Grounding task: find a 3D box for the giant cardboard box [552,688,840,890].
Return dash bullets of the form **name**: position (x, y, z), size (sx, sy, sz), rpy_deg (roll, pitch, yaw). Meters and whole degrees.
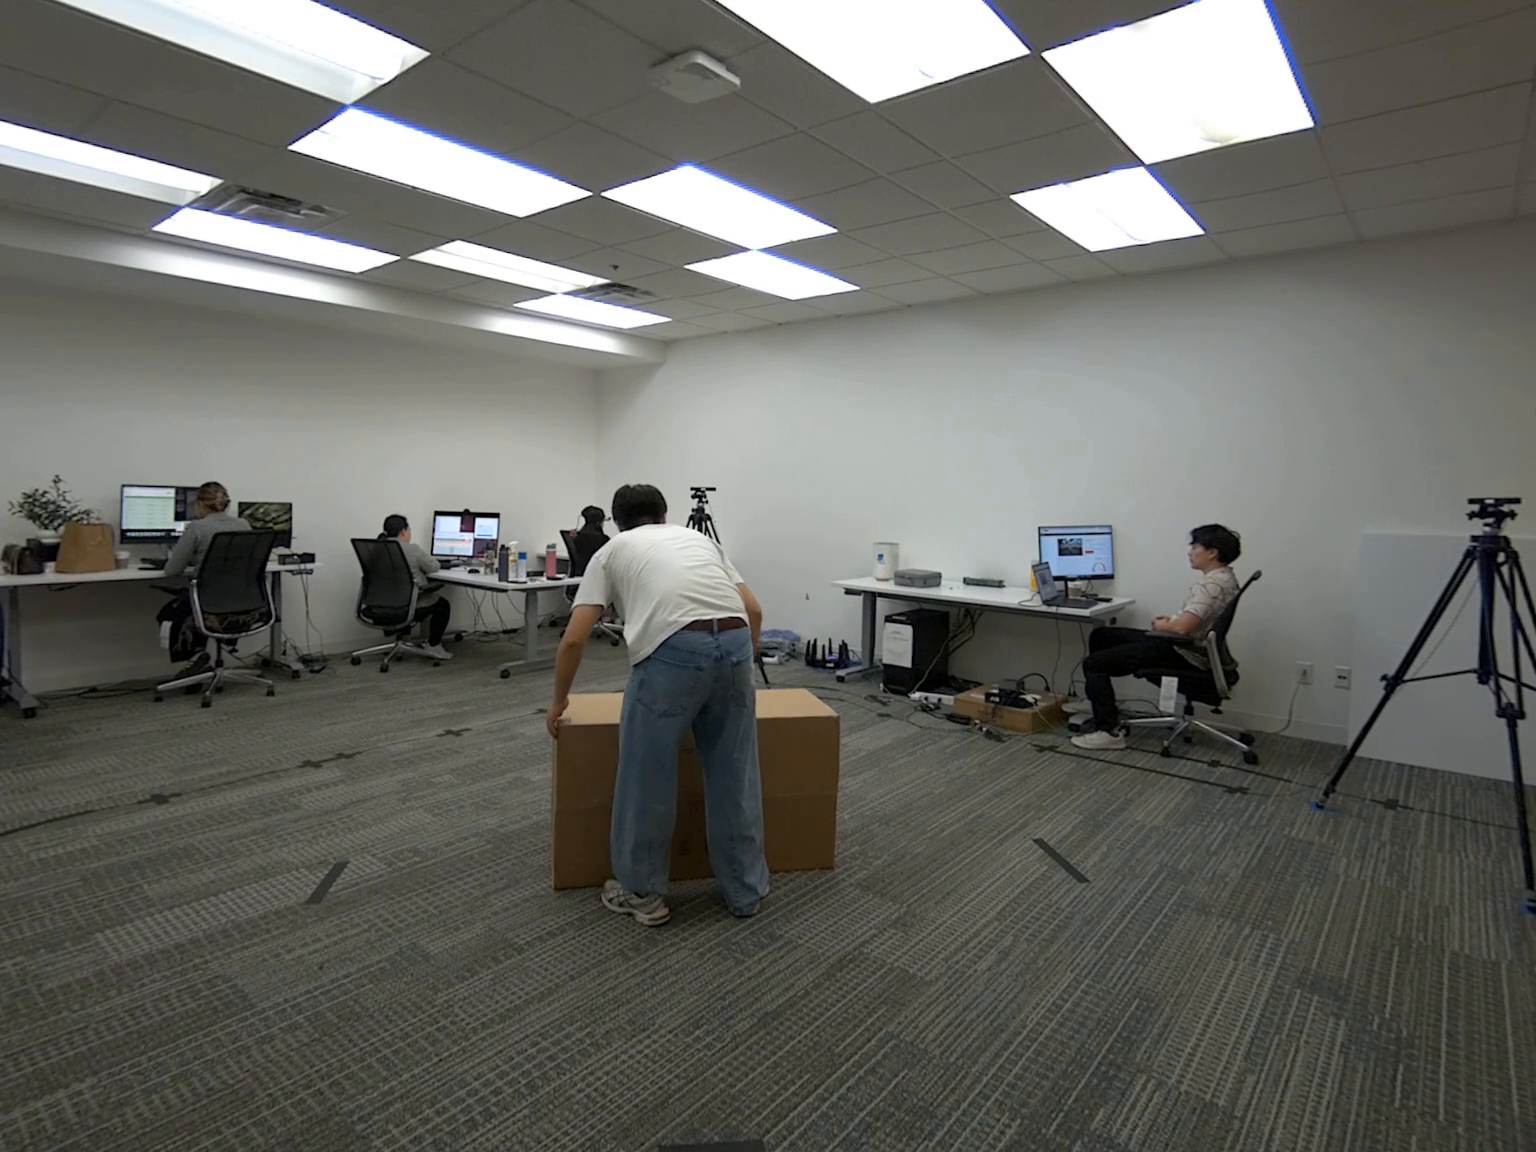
- **giant cardboard box**: position (-0.302, 0.764, 3.213), size (1.011, 0.575, 0.434), rpy_deg (0, 5, -13)
